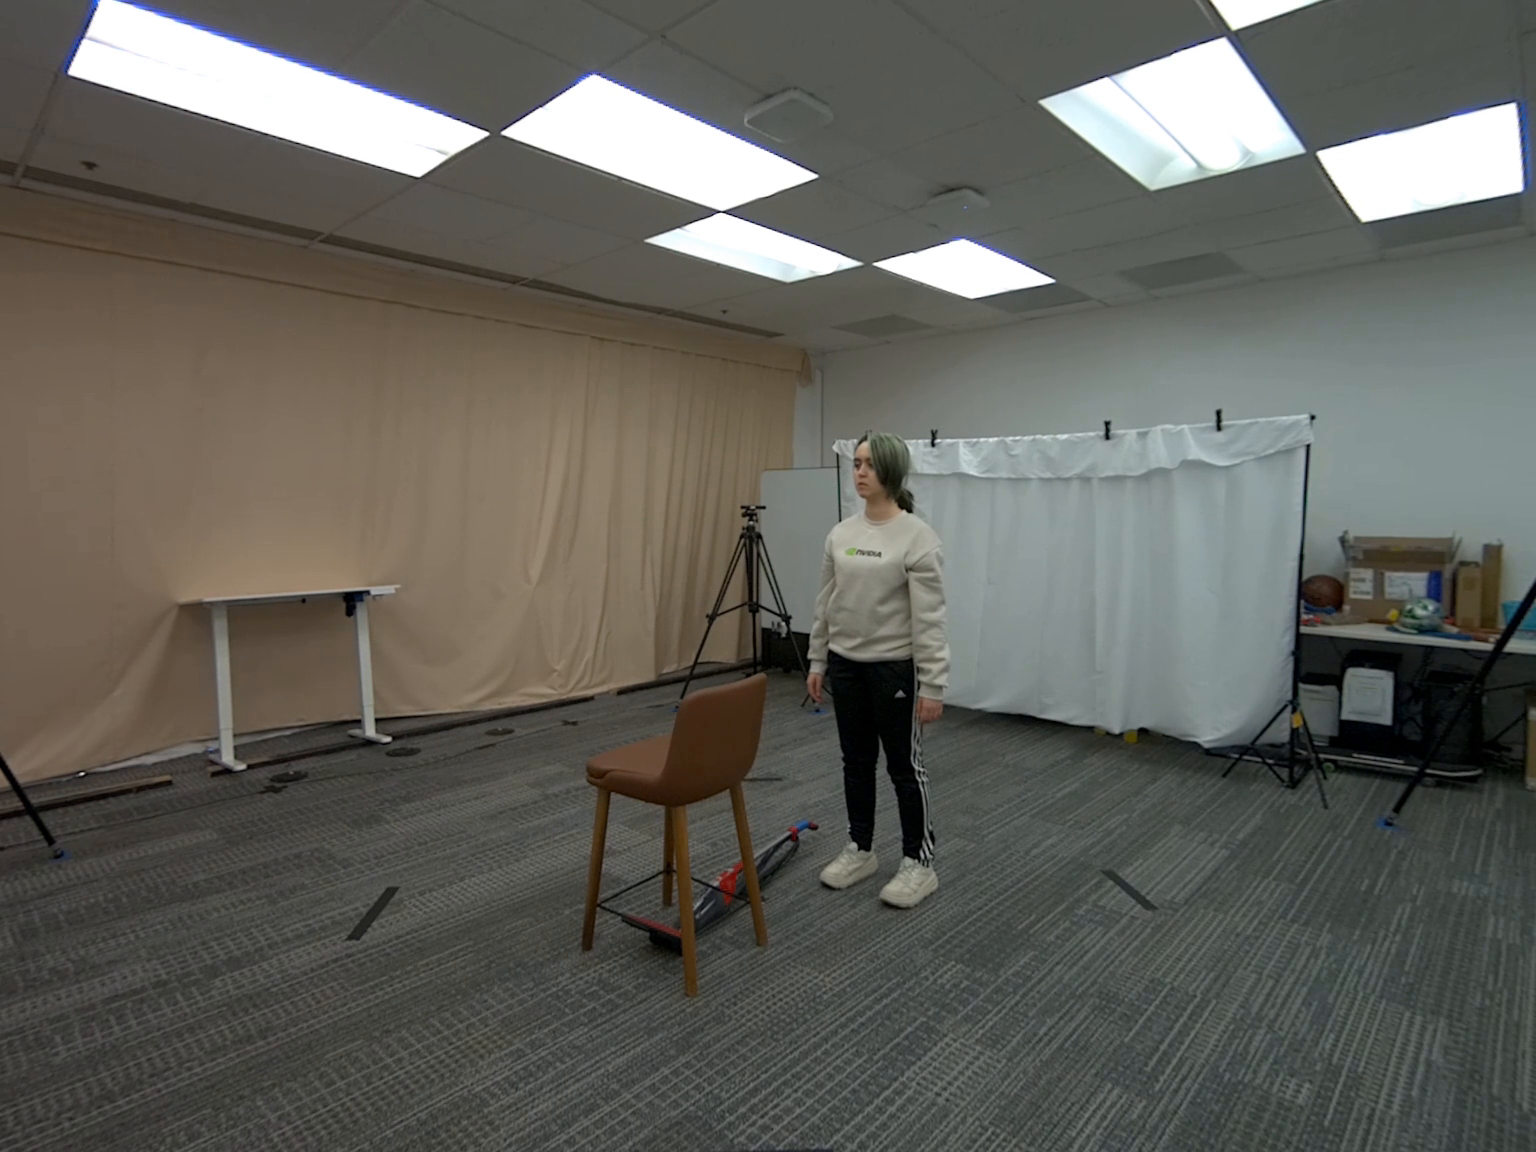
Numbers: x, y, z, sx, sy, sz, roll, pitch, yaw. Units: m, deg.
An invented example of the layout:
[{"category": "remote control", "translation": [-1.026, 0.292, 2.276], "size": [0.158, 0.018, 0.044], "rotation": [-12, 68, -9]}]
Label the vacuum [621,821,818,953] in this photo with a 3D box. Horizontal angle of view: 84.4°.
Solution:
[{"category": "vacuum", "translation": [-0.071, 1.092, 3.048], "size": [0.260, 0.143, 1.021], "rotation": [5, 6, 31]}]
